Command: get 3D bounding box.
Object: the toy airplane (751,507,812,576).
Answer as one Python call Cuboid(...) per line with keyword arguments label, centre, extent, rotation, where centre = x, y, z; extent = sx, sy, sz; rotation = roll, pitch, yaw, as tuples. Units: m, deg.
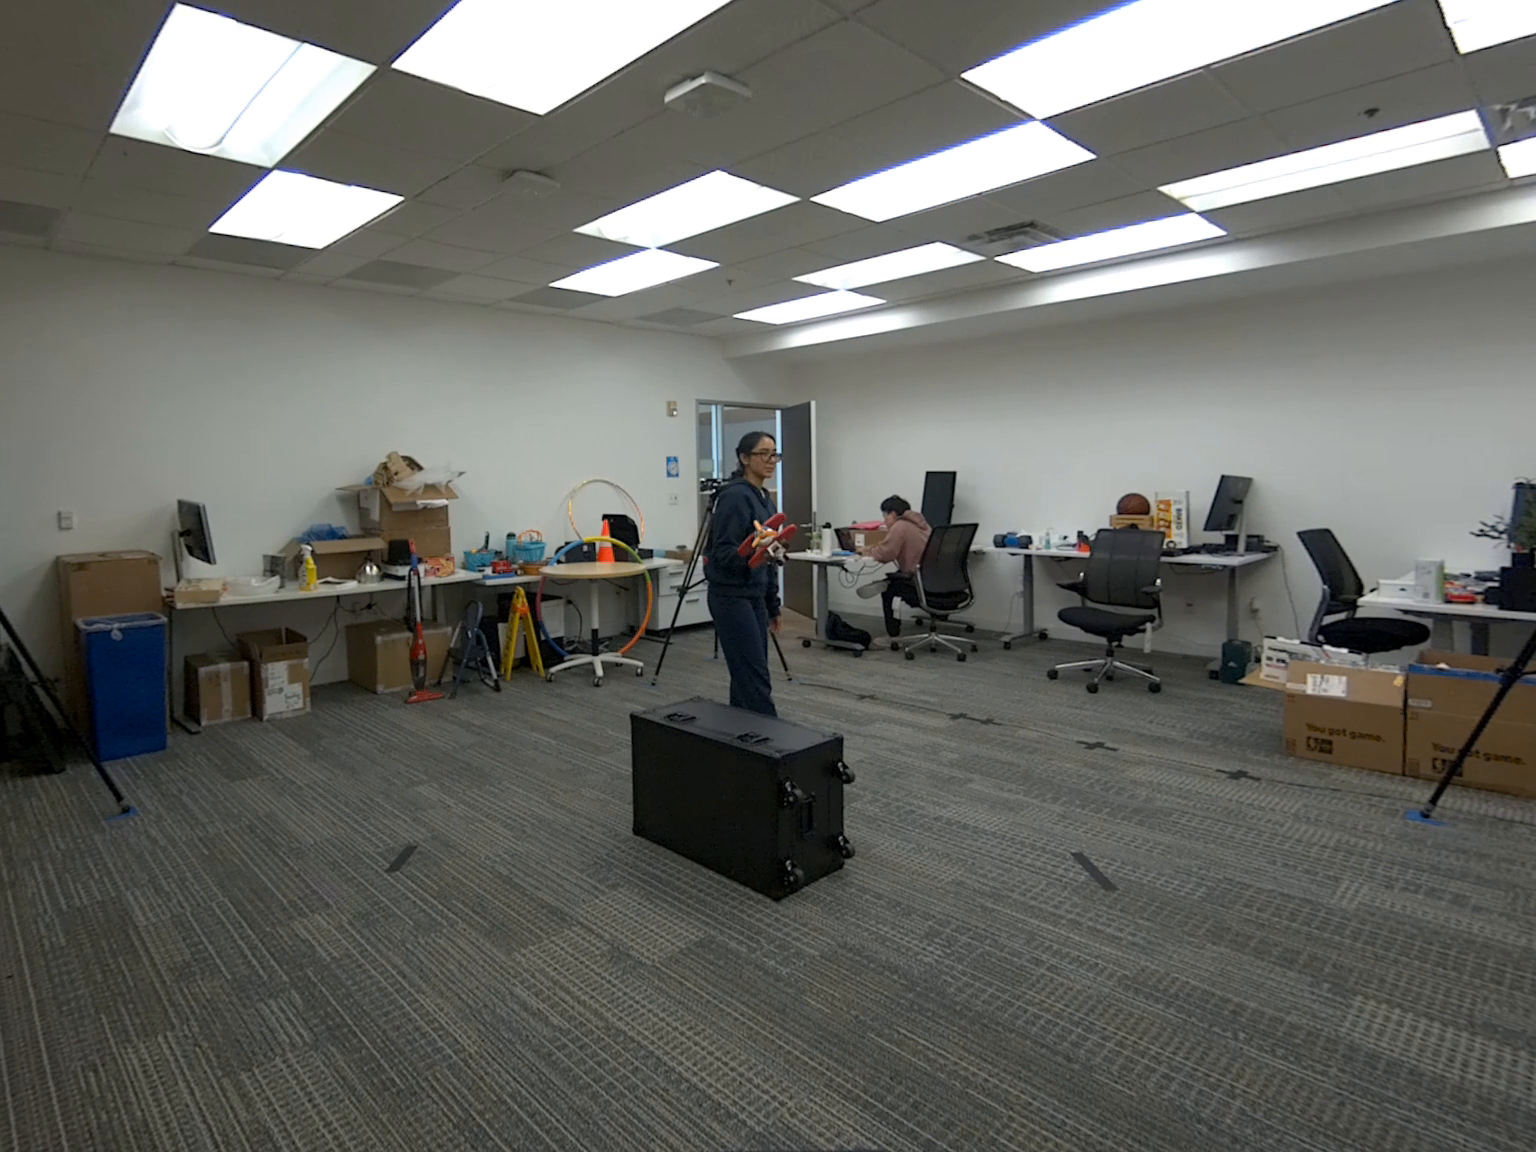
Cuboid(label="toy airplane", centre=(0.007, -0.108, 3.630), extent=(0.249, 0.160, 0.256), rotation=(-35, -16, -27))
